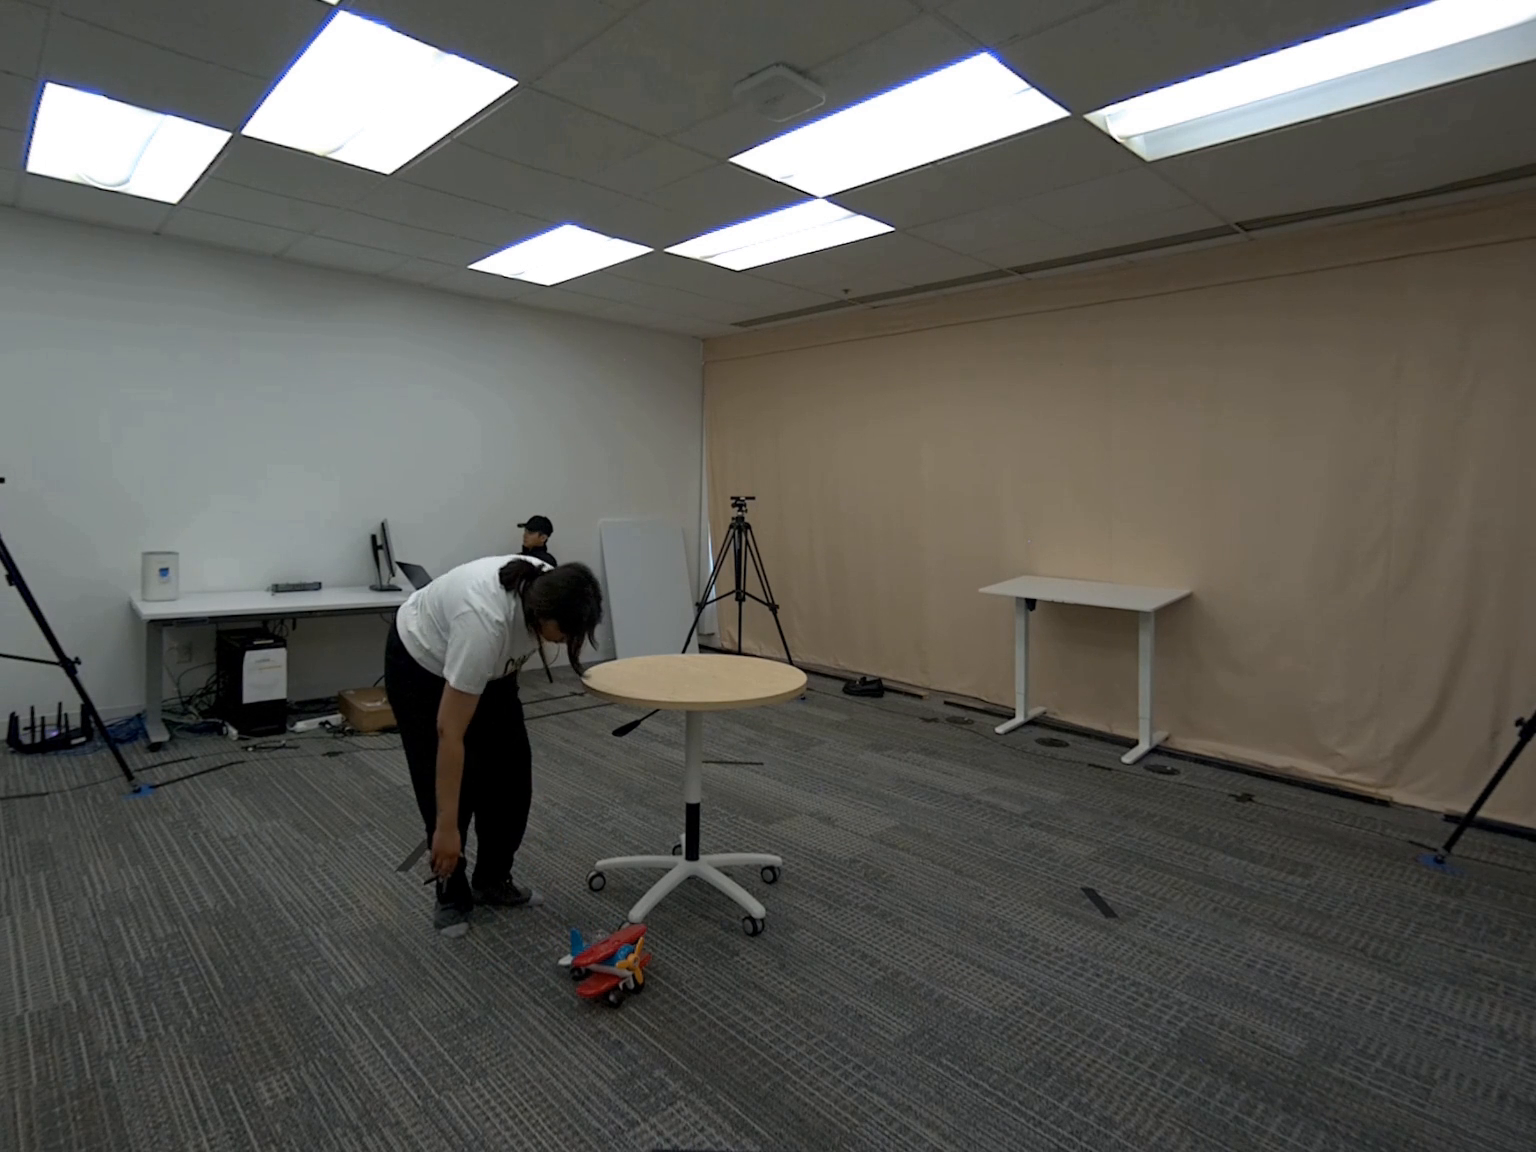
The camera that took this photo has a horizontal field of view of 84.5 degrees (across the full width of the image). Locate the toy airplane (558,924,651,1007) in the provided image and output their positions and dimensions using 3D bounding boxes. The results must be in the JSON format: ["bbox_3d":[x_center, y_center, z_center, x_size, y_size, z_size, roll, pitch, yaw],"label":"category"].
[{"bbox_3d":[-0.477,1.093,2.350,0.261,0.156,0.250,2,5,8],"label":"toy airplane"}]
